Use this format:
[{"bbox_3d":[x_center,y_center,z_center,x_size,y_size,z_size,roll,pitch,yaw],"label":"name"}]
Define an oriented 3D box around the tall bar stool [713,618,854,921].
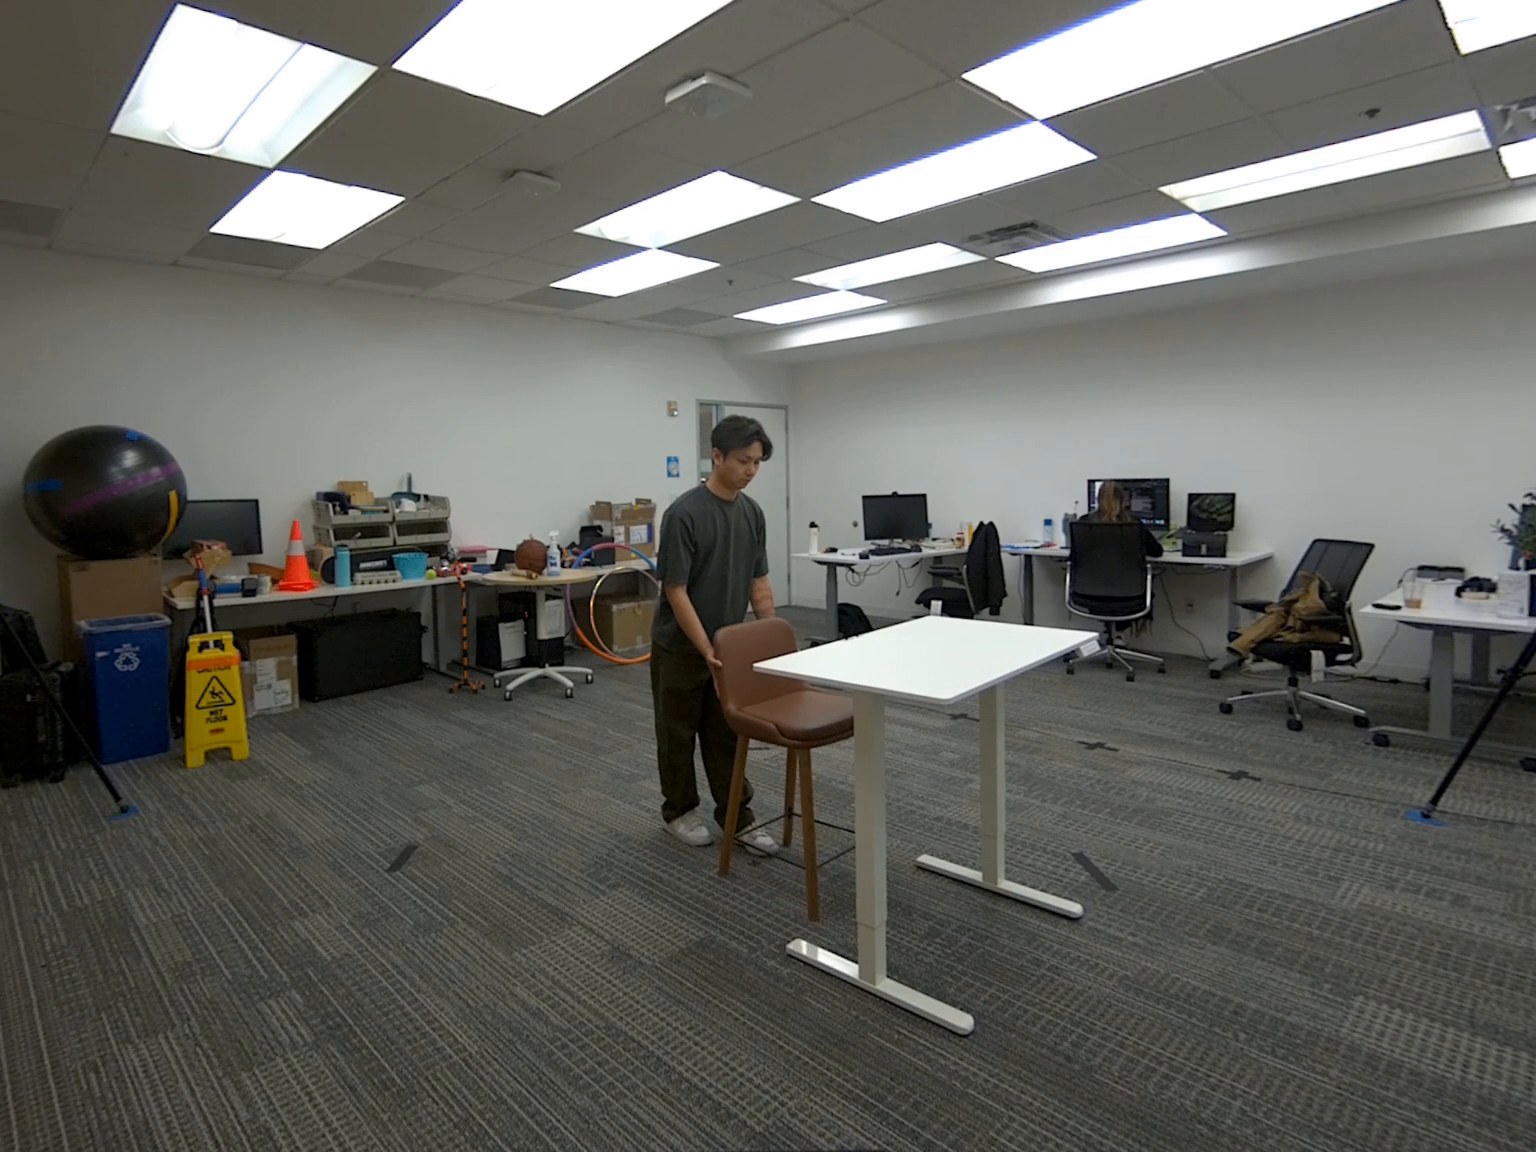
[{"bbox_3d":[0.107,0.618,2.965,0.481,0.887,0.444,0,4,43],"label":"tall bar stool"}]
